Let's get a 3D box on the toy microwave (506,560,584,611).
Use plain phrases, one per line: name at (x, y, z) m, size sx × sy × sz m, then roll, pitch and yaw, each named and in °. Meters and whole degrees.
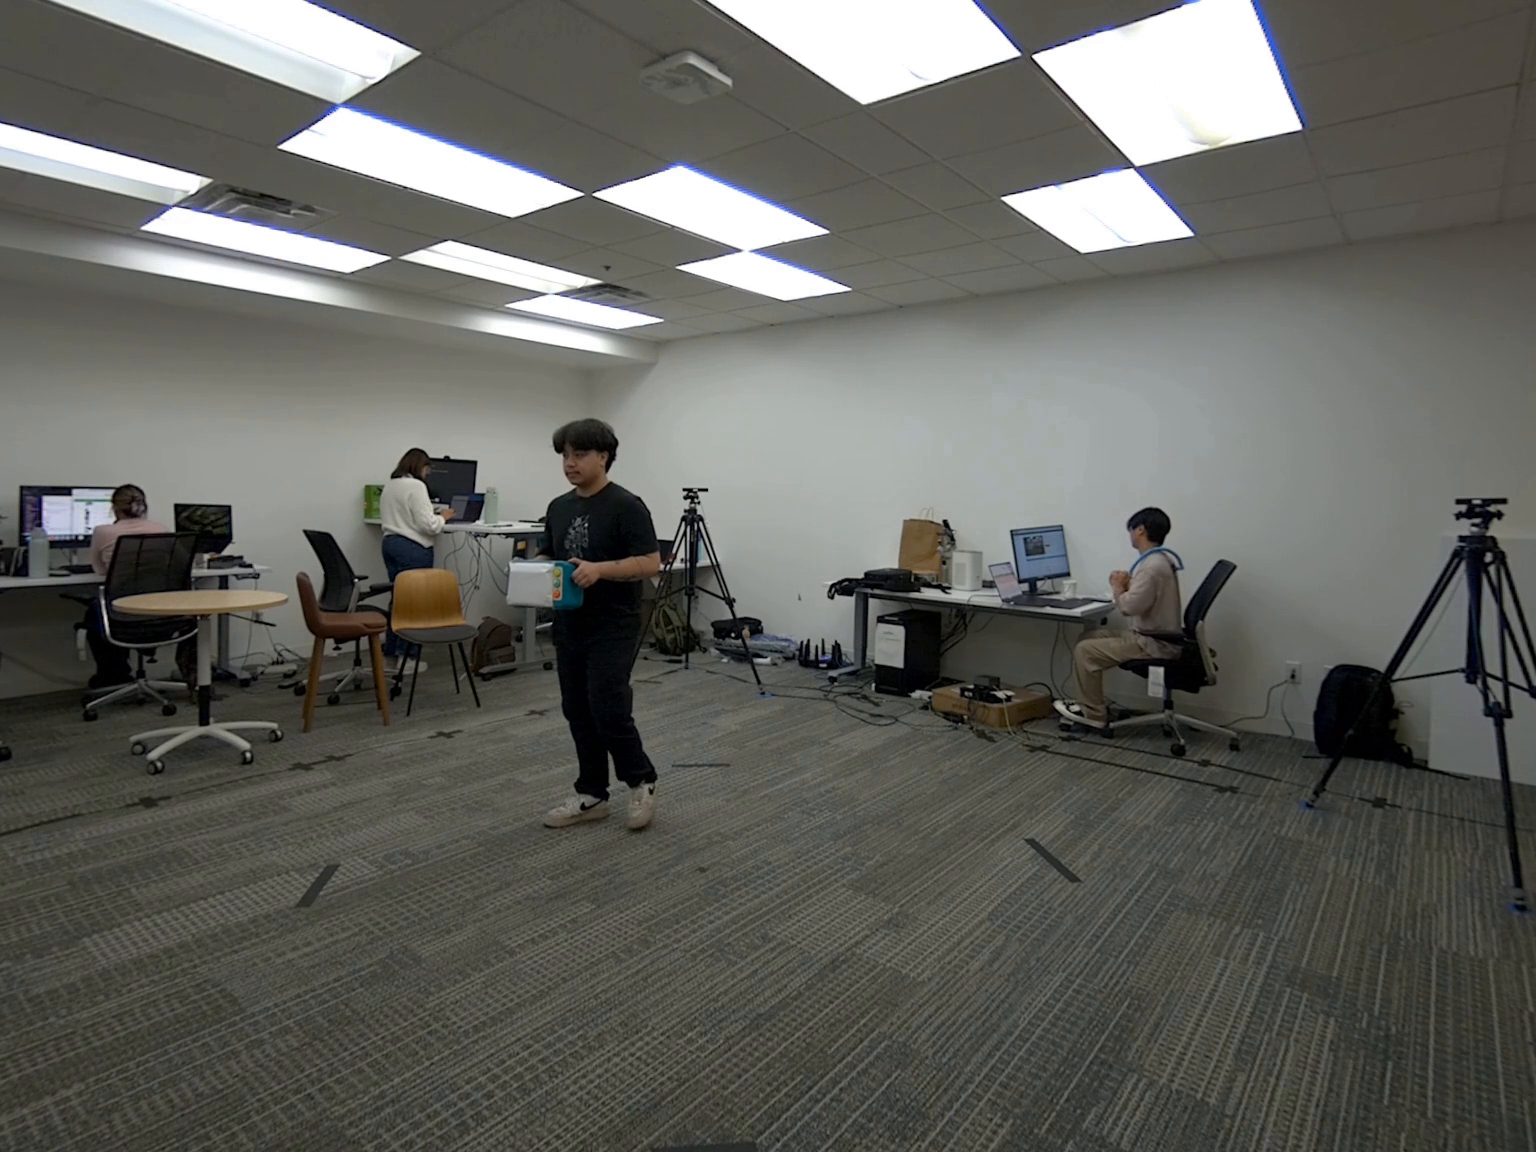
toy microwave at (-0.884, 0.032, 3.280) m, size 0.293 × 0.184 × 0.148 m, roll 1°, pitch -2°, yaw 26°
